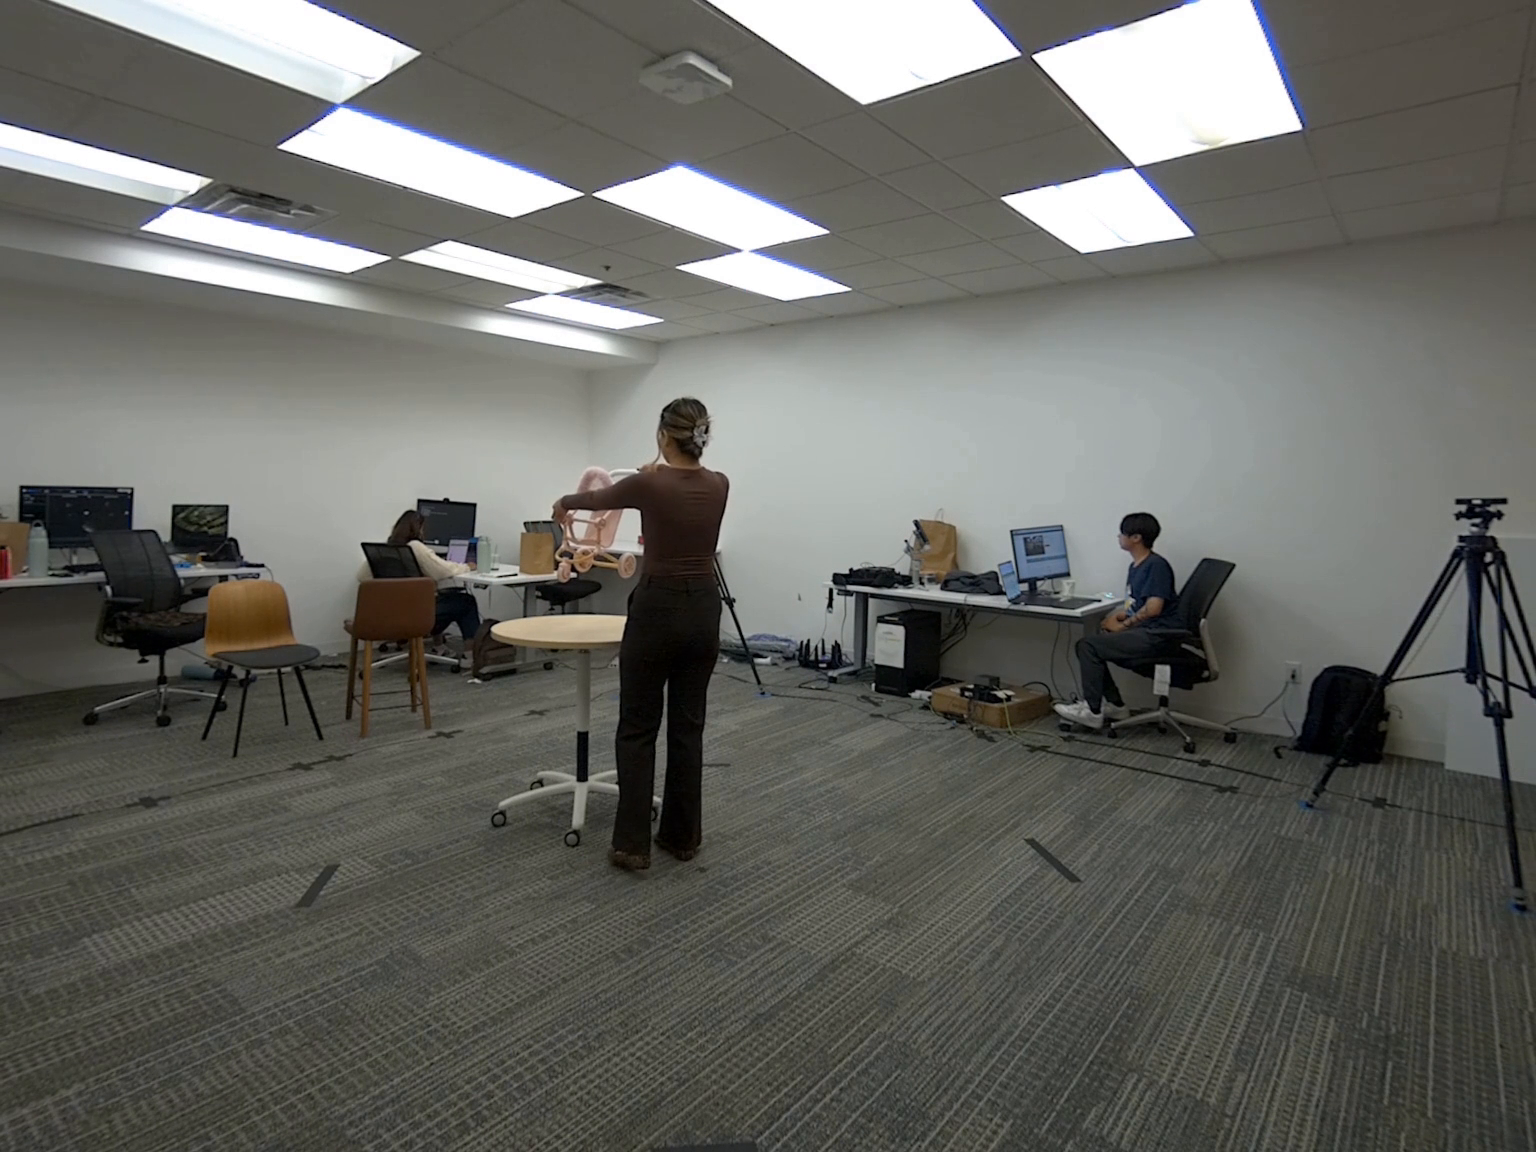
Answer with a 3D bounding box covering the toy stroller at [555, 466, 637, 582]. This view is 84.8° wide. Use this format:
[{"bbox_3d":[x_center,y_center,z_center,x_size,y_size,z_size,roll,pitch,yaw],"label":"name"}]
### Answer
[{"bbox_3d":[-0.764,-0.225,3.637,0.291,0.537,0.329,5,-6,36],"label":"toy stroller"}]
